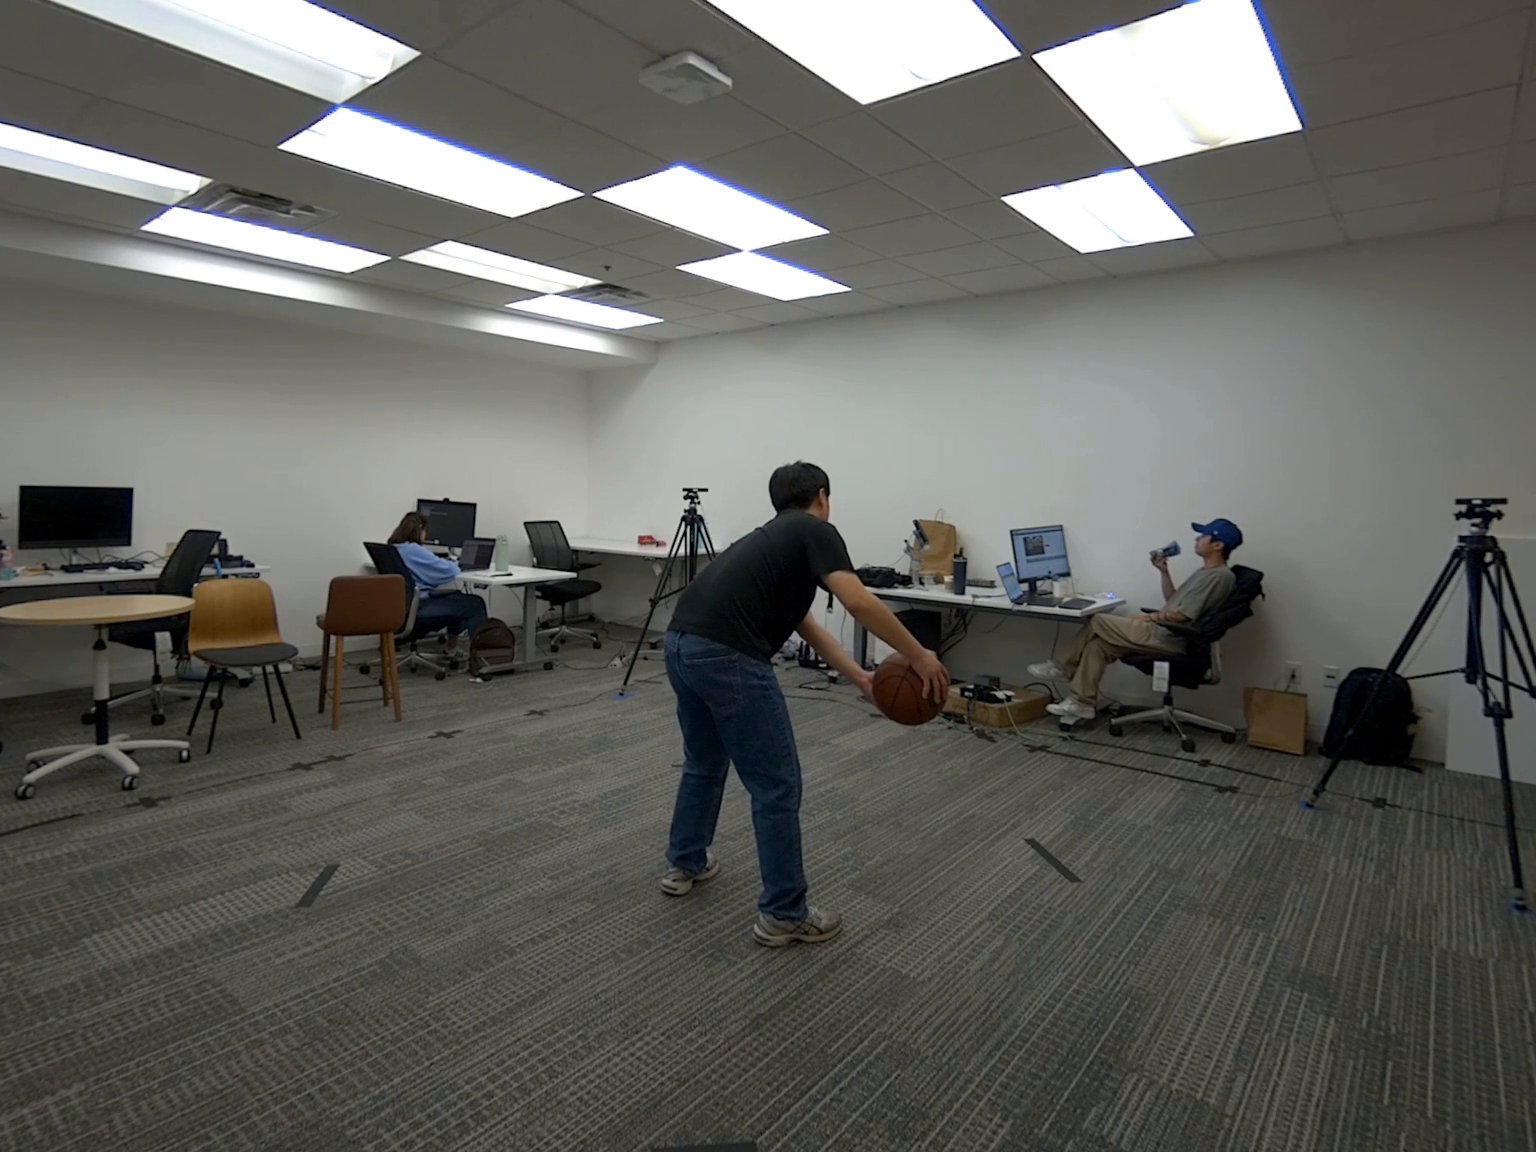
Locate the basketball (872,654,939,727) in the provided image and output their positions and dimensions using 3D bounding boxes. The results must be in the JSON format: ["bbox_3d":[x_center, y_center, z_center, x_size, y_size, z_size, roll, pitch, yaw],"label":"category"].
[{"bbox_3d":[0.439,0.366,2.730,0.235,0.235,0.237,1,4,-2],"label":"basketball"}]
